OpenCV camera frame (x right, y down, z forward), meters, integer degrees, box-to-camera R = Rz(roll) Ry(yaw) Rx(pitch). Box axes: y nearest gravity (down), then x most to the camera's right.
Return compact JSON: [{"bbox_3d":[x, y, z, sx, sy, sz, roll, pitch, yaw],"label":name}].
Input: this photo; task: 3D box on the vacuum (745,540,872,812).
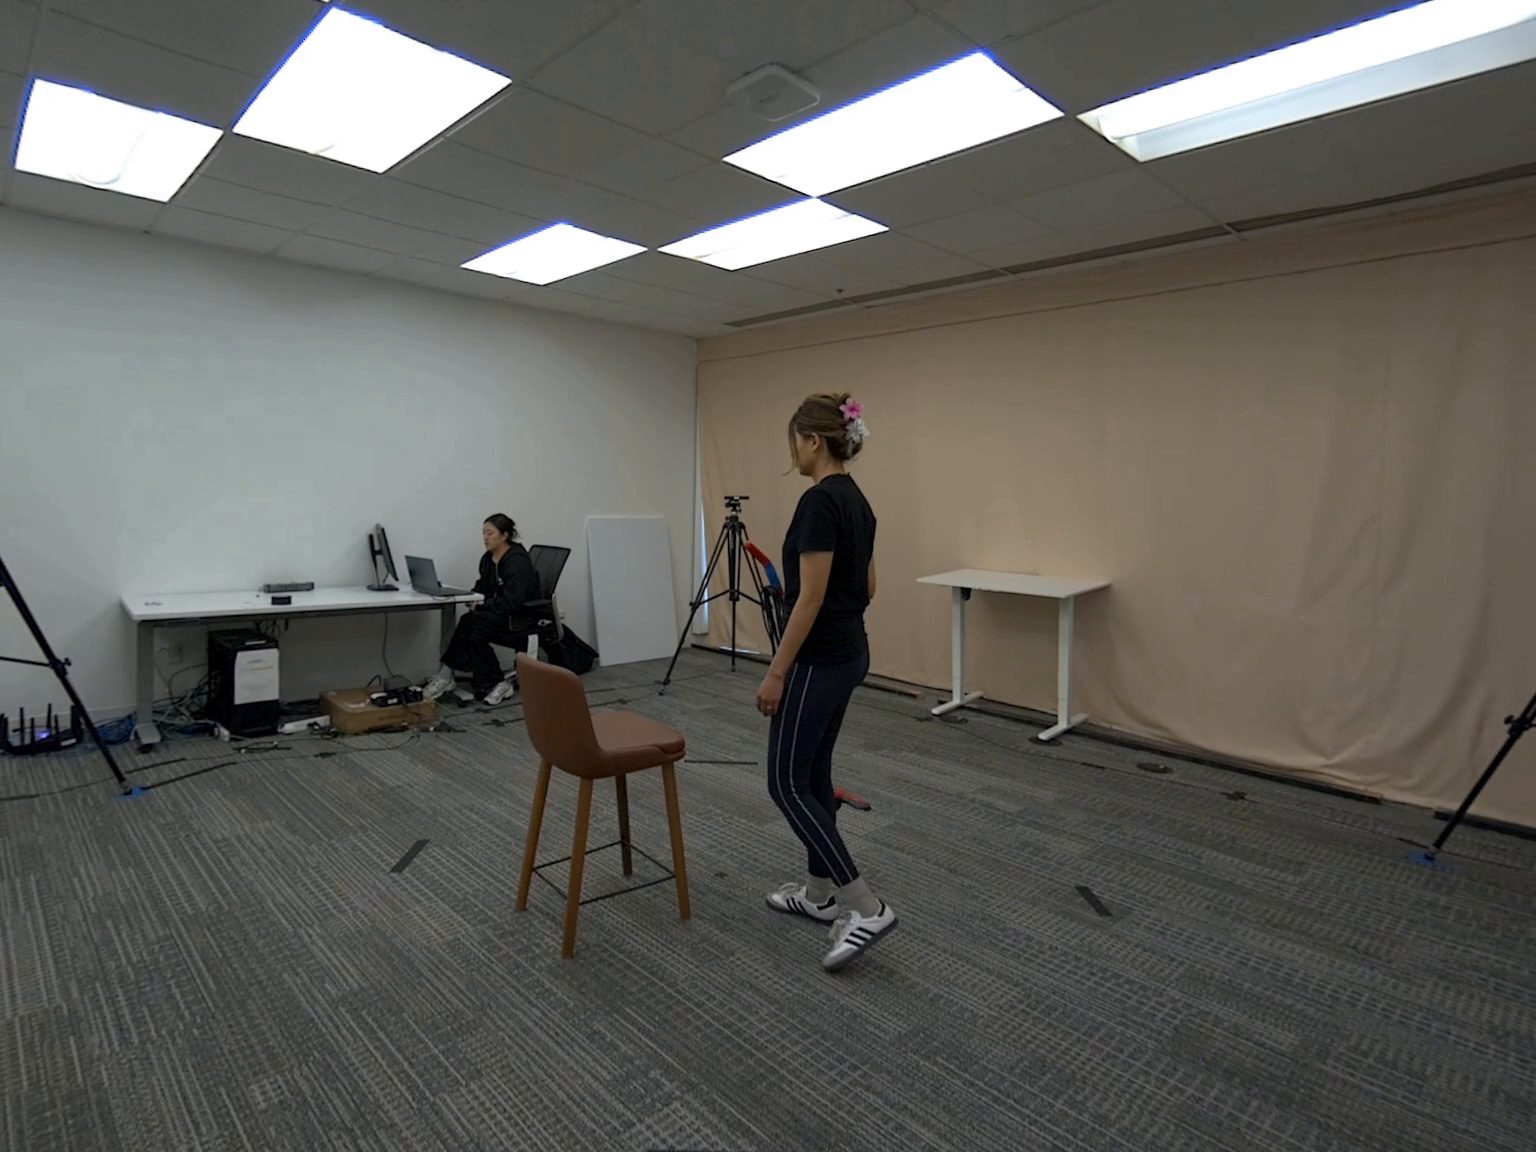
[{"bbox_3d":[0.091,0.377,3.043,0.142,1.037,0.258,-27,15,-33],"label":"vacuum"}]
